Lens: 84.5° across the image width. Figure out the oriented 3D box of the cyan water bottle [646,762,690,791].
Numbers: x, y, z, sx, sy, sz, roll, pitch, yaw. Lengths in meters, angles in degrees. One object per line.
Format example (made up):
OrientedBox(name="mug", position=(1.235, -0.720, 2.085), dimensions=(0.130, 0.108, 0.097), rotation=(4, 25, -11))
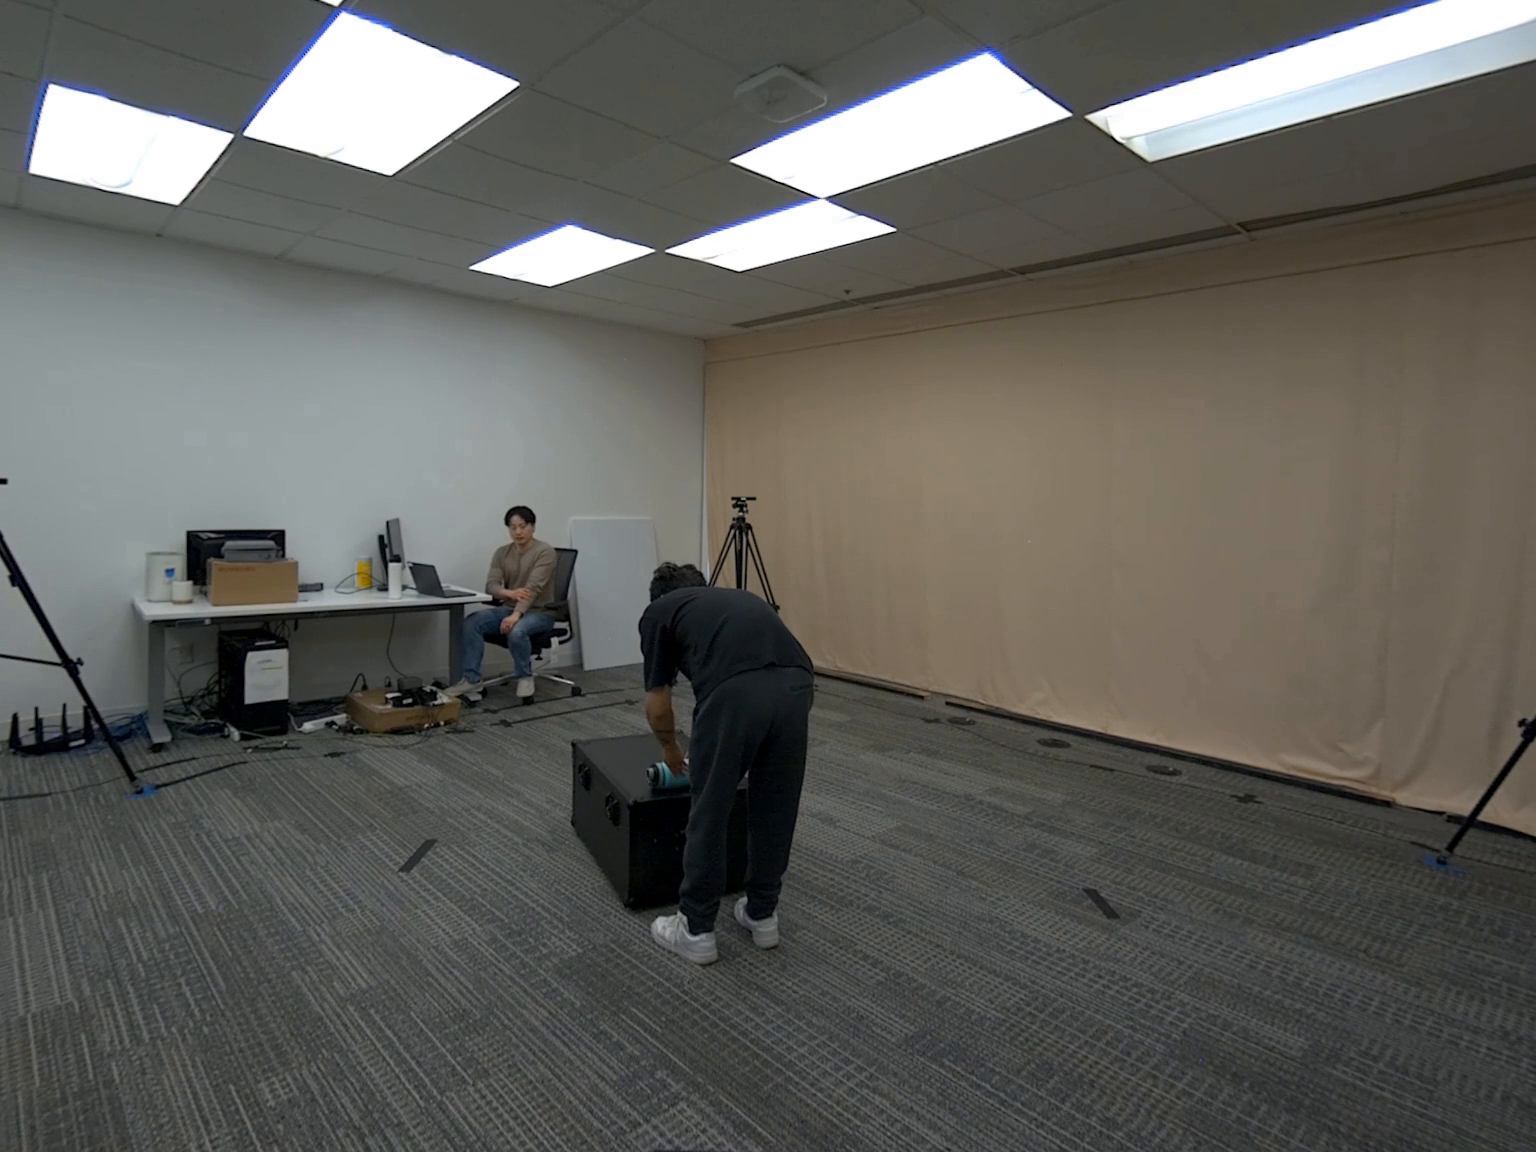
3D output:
OrientedBox(name="cyan water bottle", position=(-0.299, 0.691, 2.966), dimensions=(0.279, 0.092, 0.094), rotation=(0, 4, -21))
